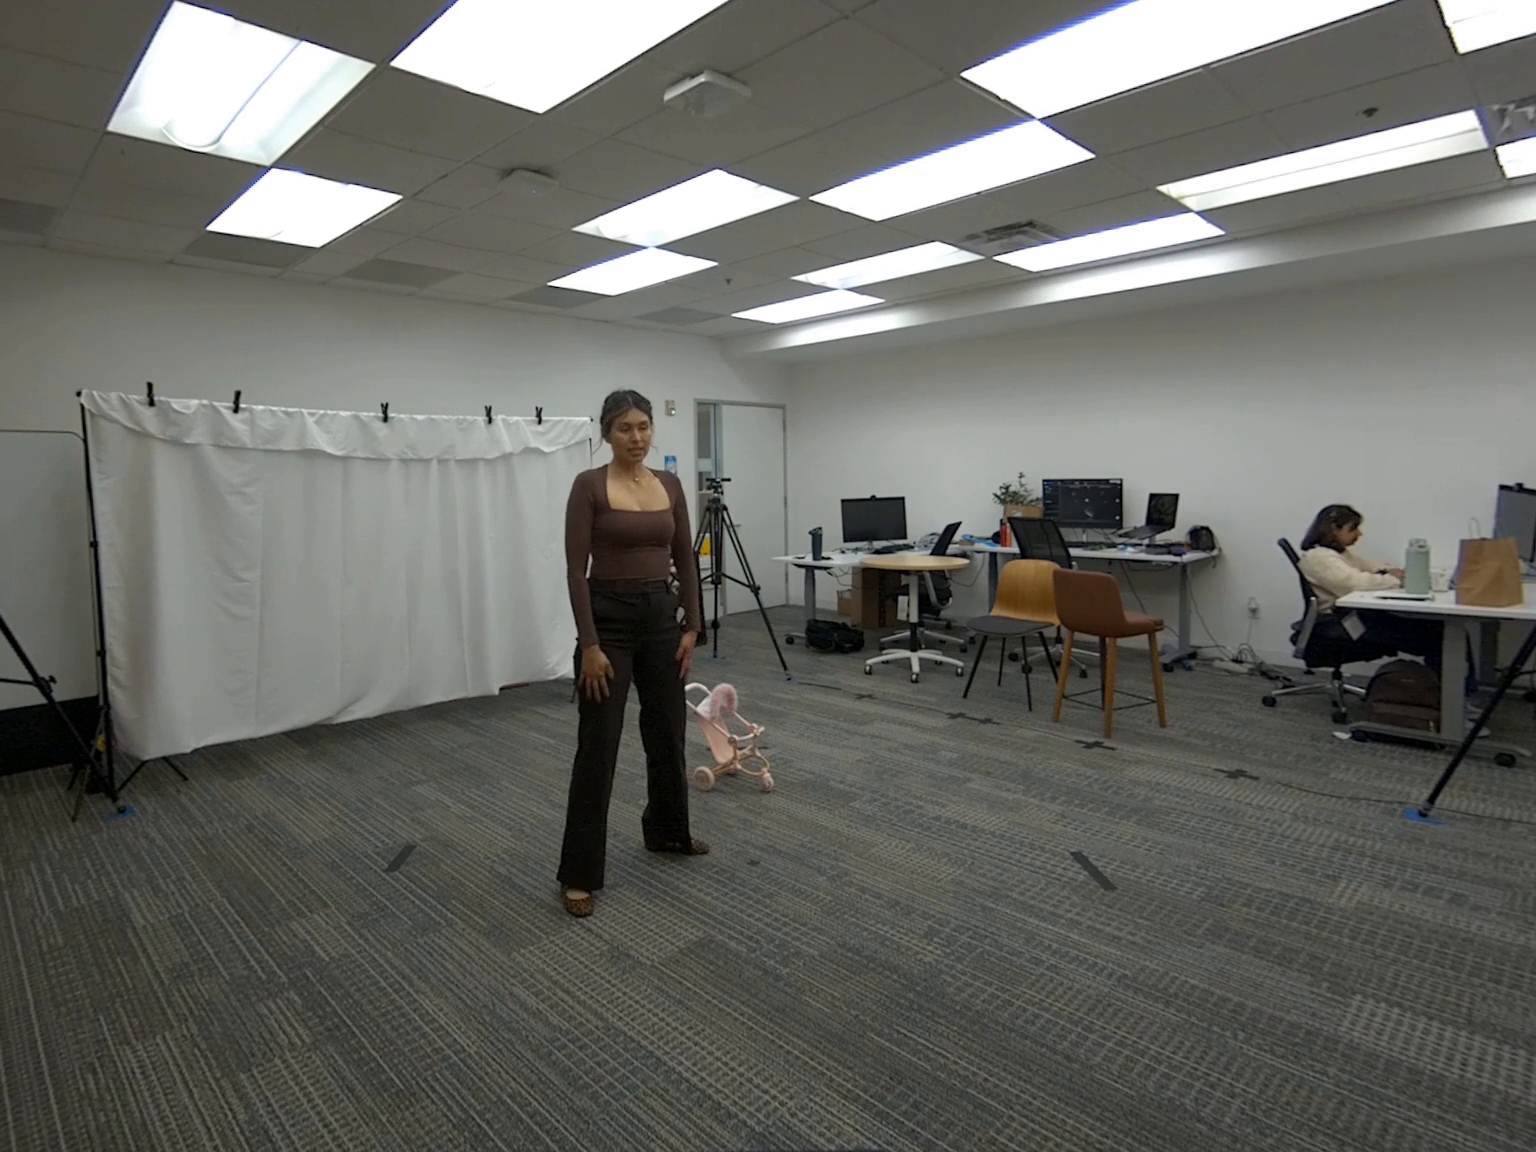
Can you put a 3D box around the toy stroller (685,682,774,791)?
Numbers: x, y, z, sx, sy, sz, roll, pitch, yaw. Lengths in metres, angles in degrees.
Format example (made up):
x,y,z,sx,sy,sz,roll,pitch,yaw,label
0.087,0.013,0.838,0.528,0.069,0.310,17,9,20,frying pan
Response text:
x,y,z,sx,sy,sz,roll,pitch,yaw,label
-0.181,0.727,3.891,0.347,0.538,0.275,-18,-5,33,toy stroller
